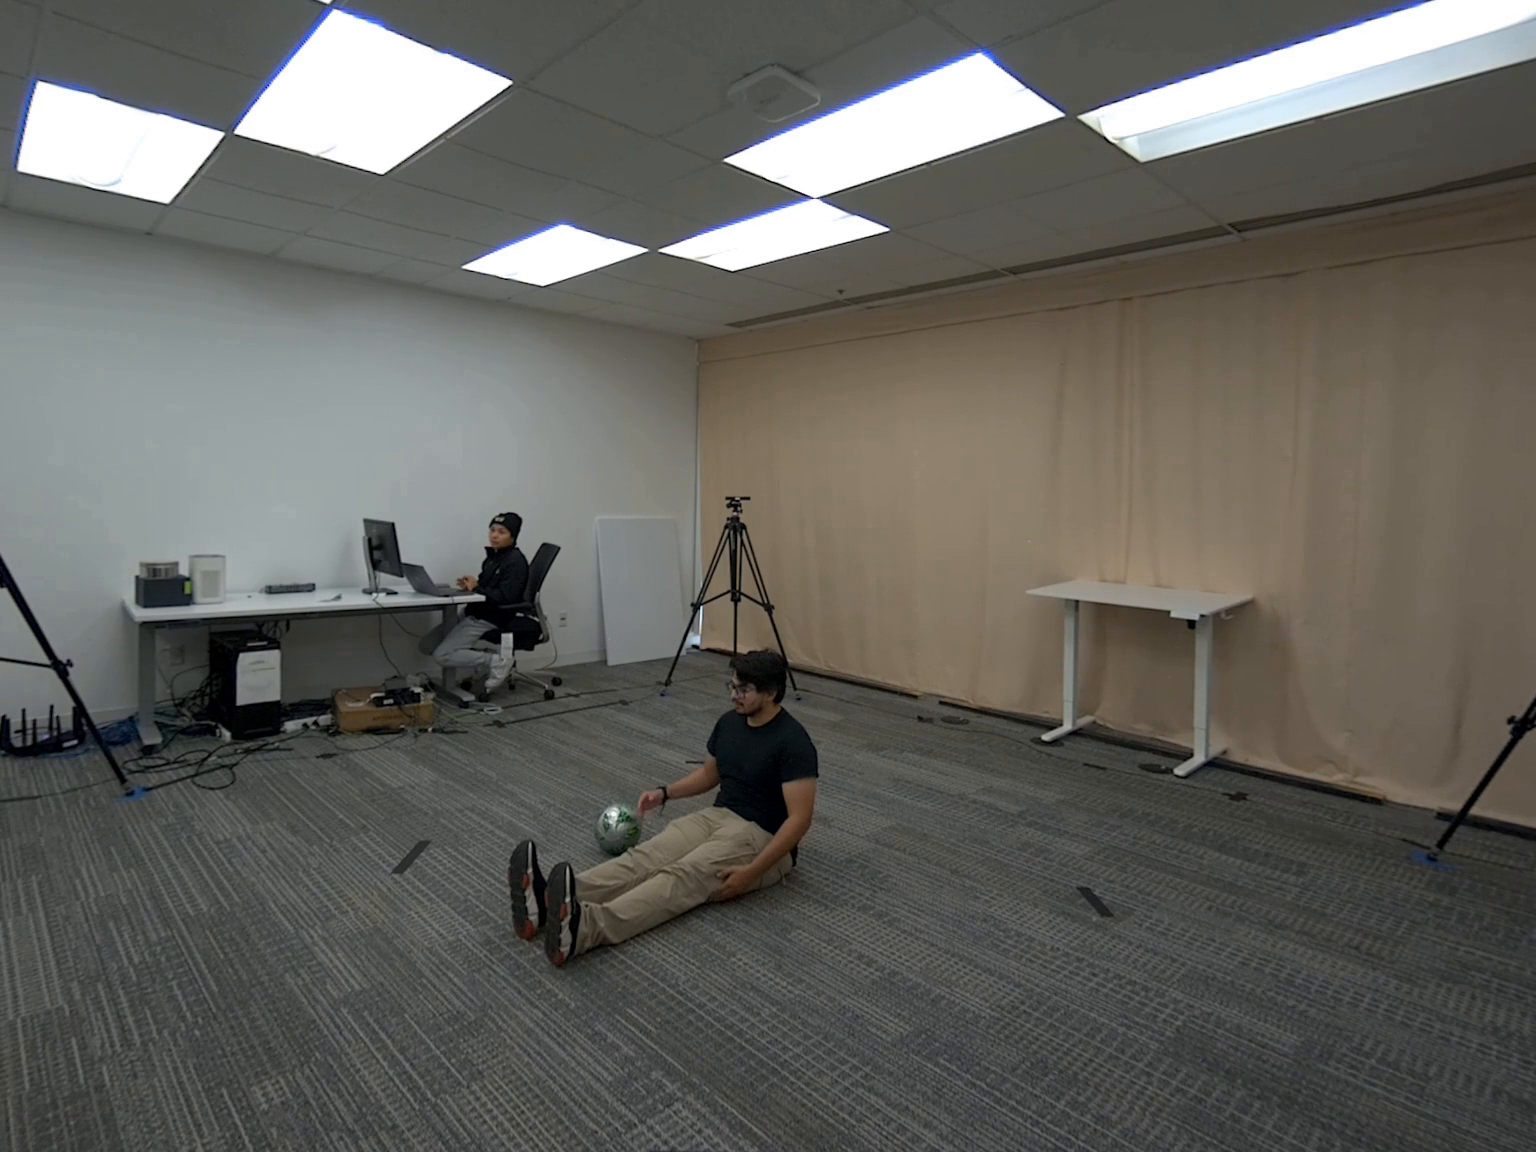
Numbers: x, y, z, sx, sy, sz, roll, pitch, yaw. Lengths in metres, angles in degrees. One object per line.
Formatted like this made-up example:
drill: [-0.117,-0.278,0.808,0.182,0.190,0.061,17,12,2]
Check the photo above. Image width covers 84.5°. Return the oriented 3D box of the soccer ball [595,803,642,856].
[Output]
soccer ball: [-0.586,0.980,3.286,0.187,0.187,0.188,1,5,-1]
